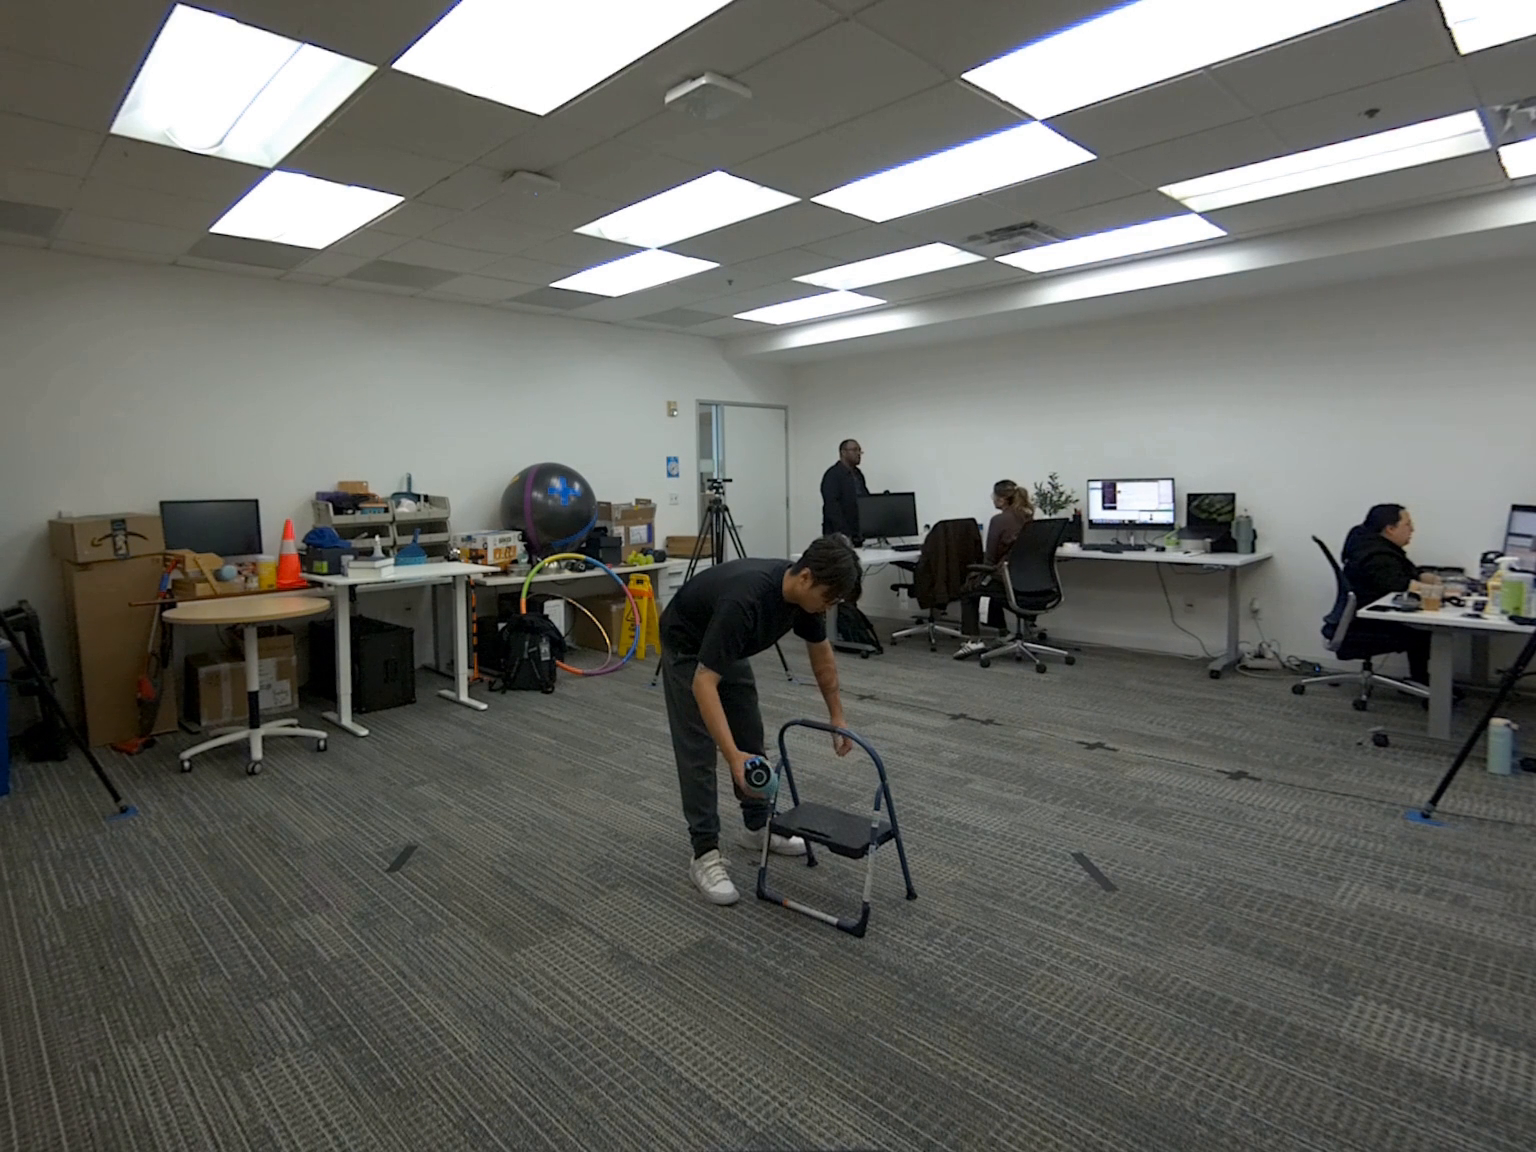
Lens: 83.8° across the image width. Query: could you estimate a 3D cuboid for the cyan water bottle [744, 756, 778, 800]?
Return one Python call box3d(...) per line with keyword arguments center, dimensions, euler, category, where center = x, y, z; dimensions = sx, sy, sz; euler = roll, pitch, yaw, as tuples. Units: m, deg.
box3d(center=(-0.014, 0.614, 2.597), dimensions=(0.093, 0.094, 0.275), euler=(0, -23, 8), category="cyan water bottle")
